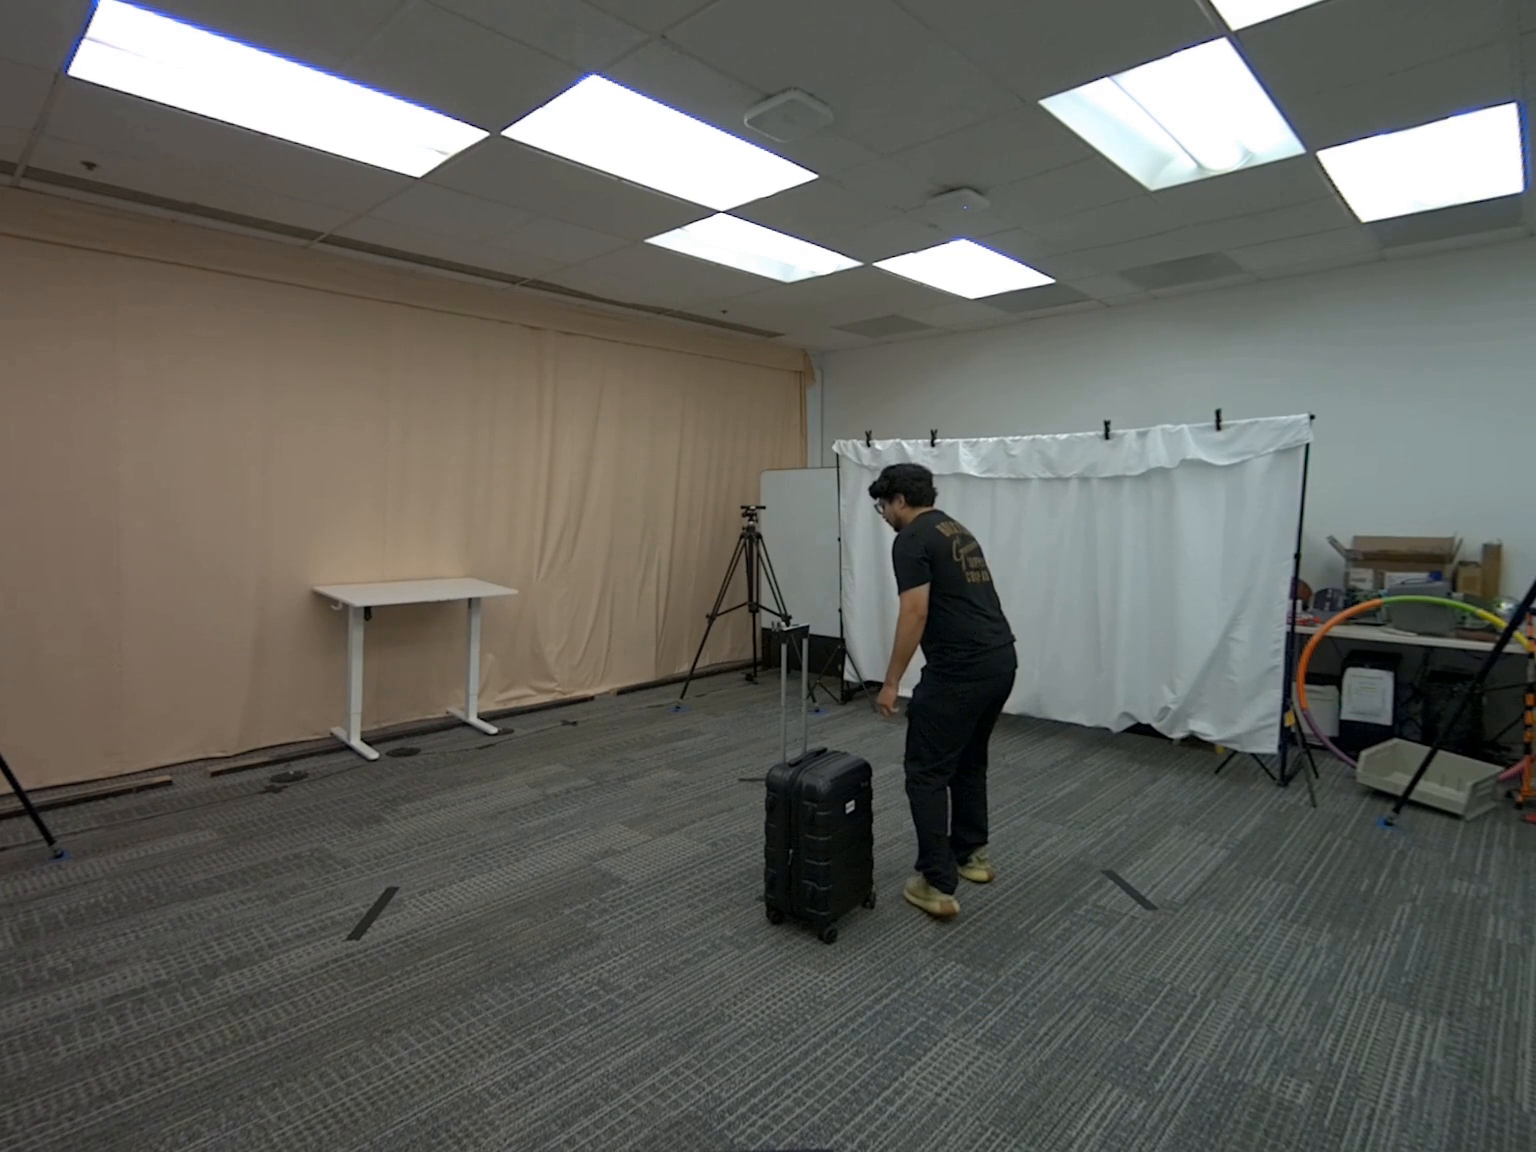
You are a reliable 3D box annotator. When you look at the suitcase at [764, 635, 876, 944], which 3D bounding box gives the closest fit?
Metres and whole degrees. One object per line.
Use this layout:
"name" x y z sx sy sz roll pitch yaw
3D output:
"suitcase" 0.179 0.680 2.821 0.265 0.975 0.373 4 7 36
